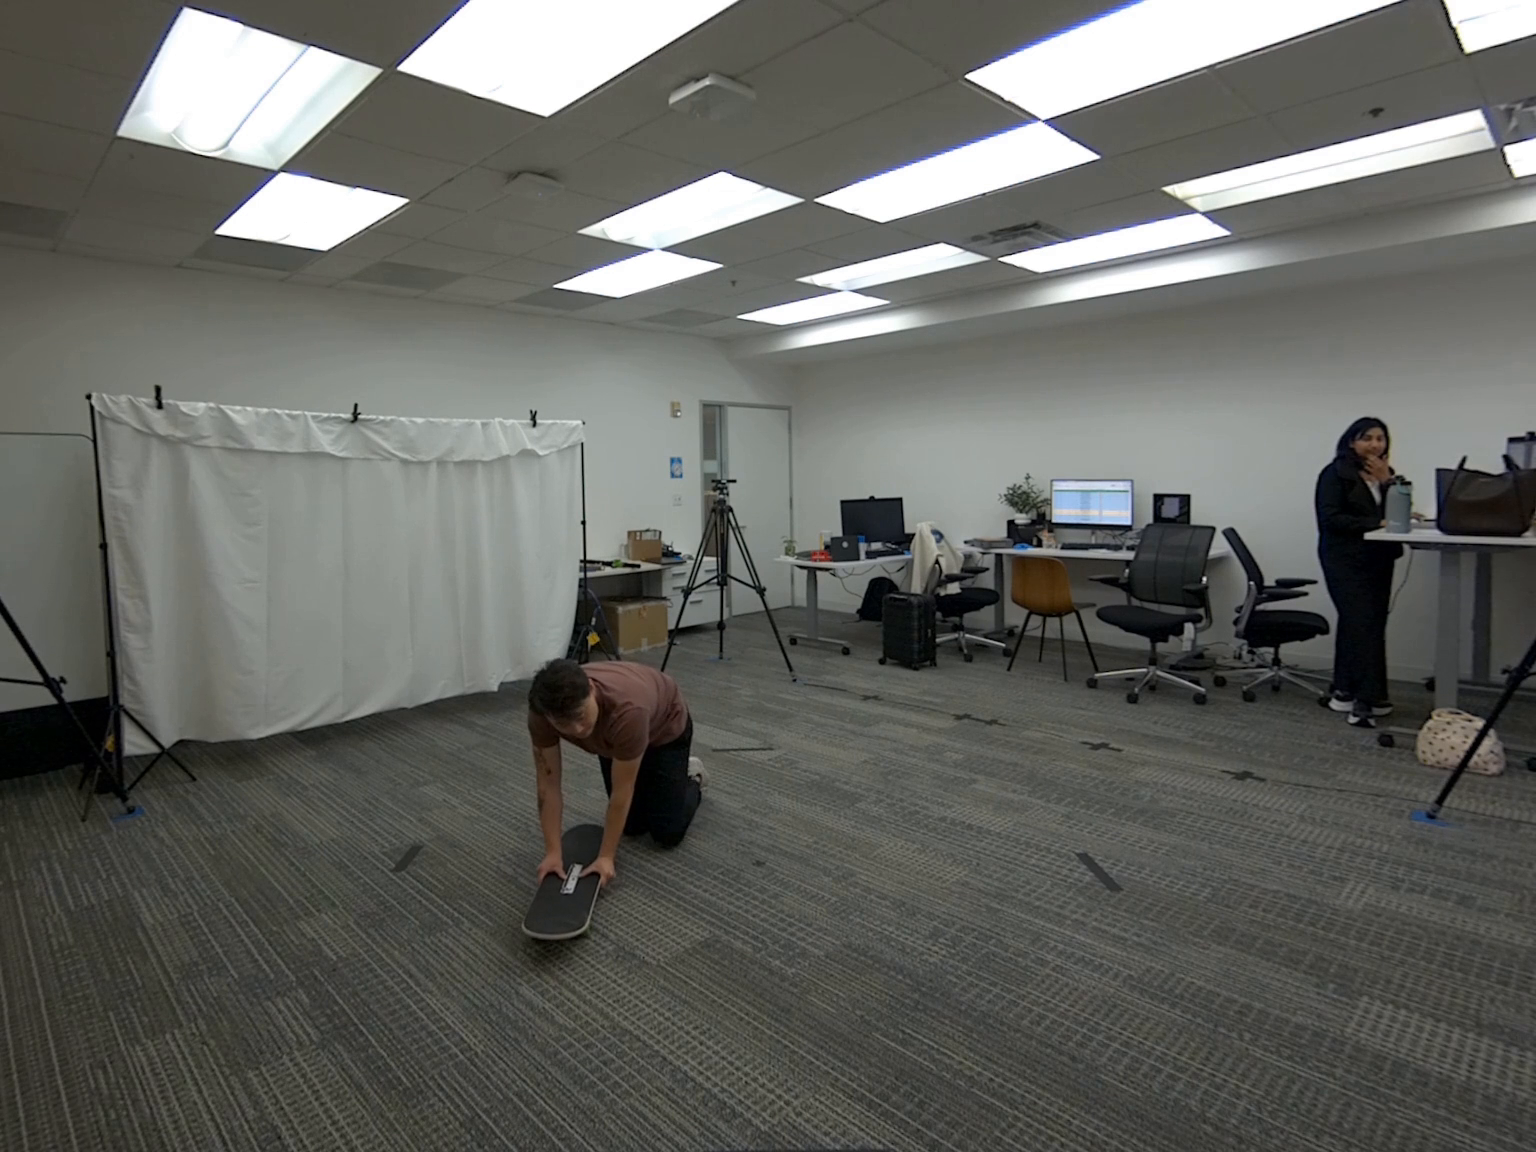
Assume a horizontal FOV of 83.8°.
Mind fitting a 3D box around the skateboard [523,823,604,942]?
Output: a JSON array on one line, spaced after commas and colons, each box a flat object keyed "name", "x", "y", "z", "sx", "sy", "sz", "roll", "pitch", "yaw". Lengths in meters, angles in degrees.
[{"name": "skateboard", "x": -0.652, "y": 1.040, "z": 2.838, "sx": 0.193, "sy": 0.110, "sz": 0.791, "roll": 2, "pitch": 7, "yaw": -4}]
